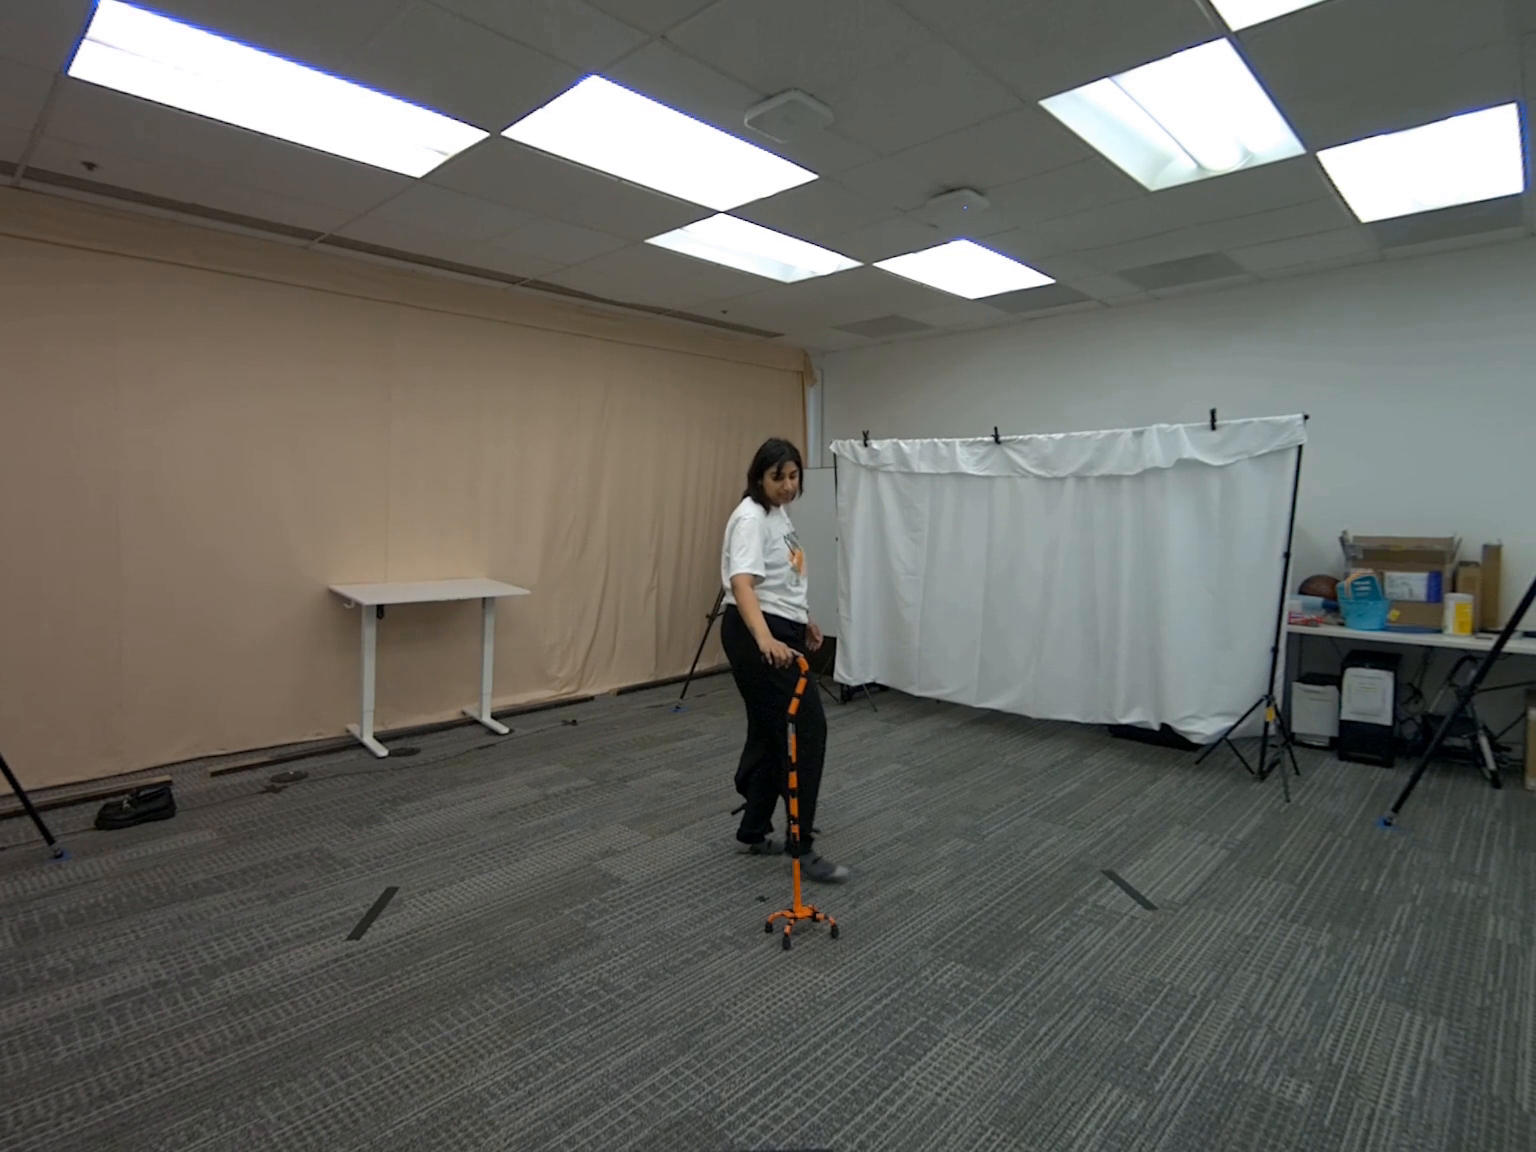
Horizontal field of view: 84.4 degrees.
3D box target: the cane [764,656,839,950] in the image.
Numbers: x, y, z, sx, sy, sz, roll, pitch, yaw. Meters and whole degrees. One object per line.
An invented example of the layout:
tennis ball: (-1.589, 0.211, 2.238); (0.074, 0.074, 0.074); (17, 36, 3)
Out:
cane: (0.093, 0.705, 2.746); (0.201, 0.909, 0.155); (-2, -2, -25)
